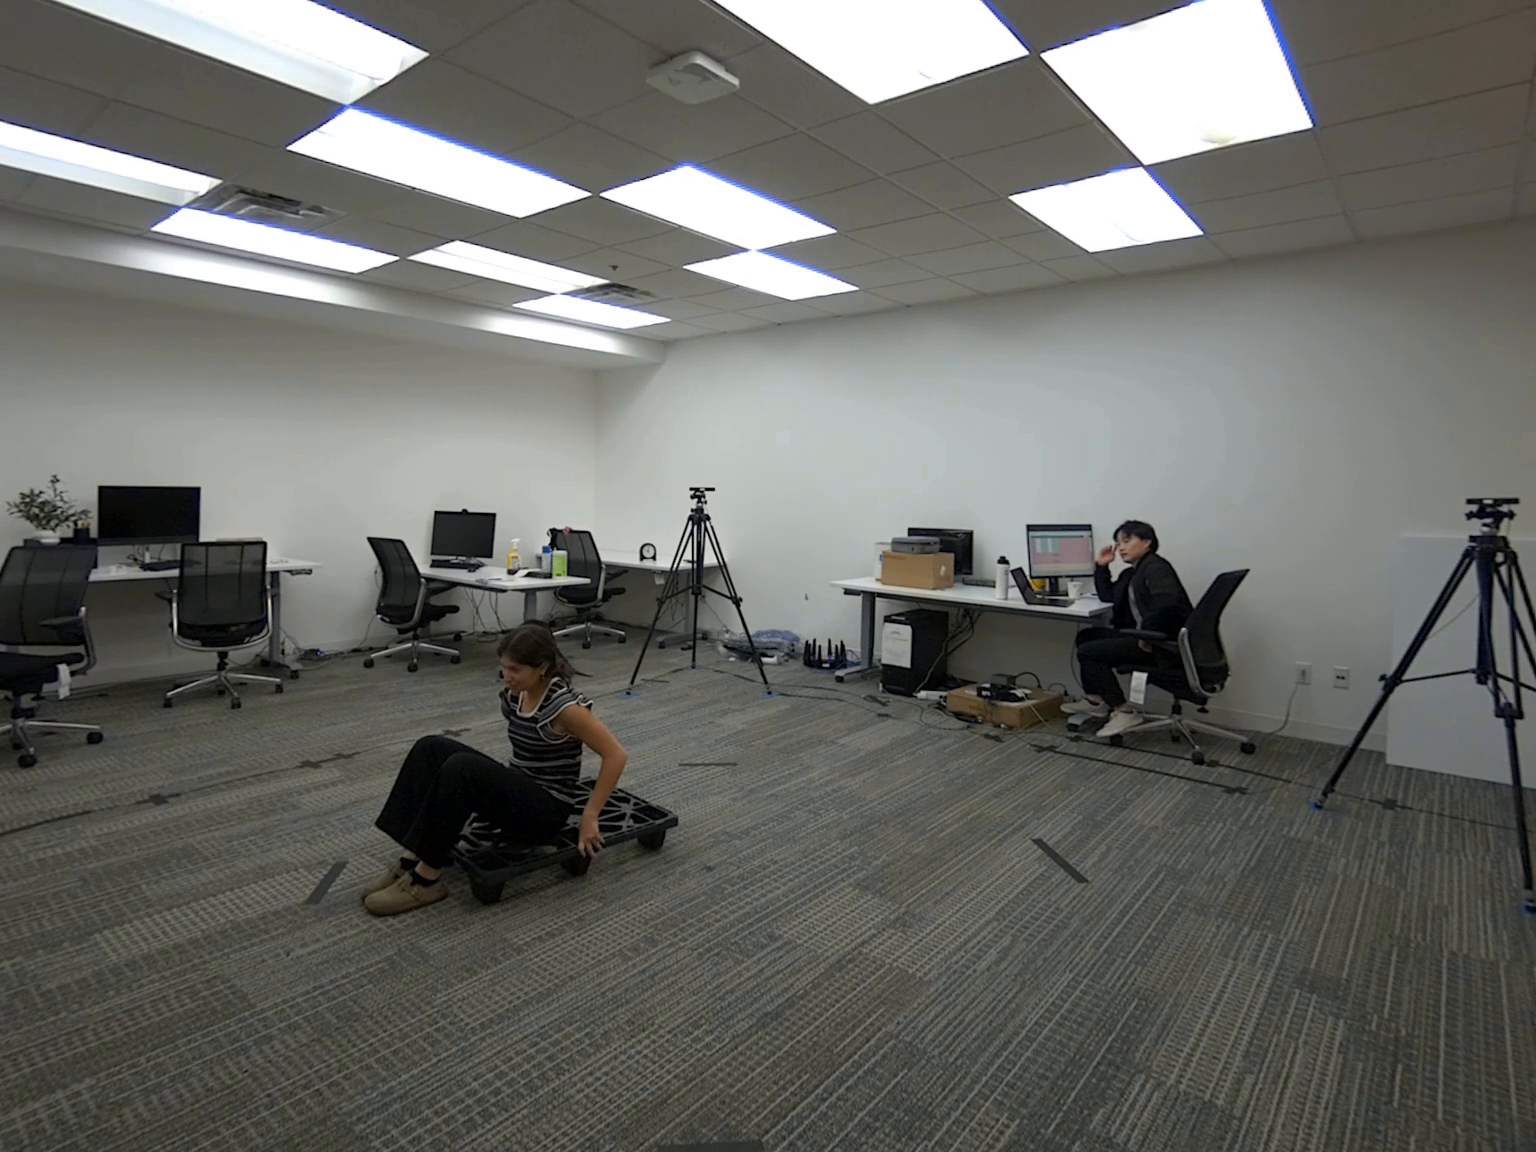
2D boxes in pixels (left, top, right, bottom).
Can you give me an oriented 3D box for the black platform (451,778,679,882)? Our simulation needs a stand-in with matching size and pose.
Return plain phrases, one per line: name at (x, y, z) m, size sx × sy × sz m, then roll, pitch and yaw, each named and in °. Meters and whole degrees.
black platform at (-0.841, 0.976, 3.215) m, size 0.782 × 0.143 × 0.625 m, roll -5°, pitch 7°, yaw -42°
